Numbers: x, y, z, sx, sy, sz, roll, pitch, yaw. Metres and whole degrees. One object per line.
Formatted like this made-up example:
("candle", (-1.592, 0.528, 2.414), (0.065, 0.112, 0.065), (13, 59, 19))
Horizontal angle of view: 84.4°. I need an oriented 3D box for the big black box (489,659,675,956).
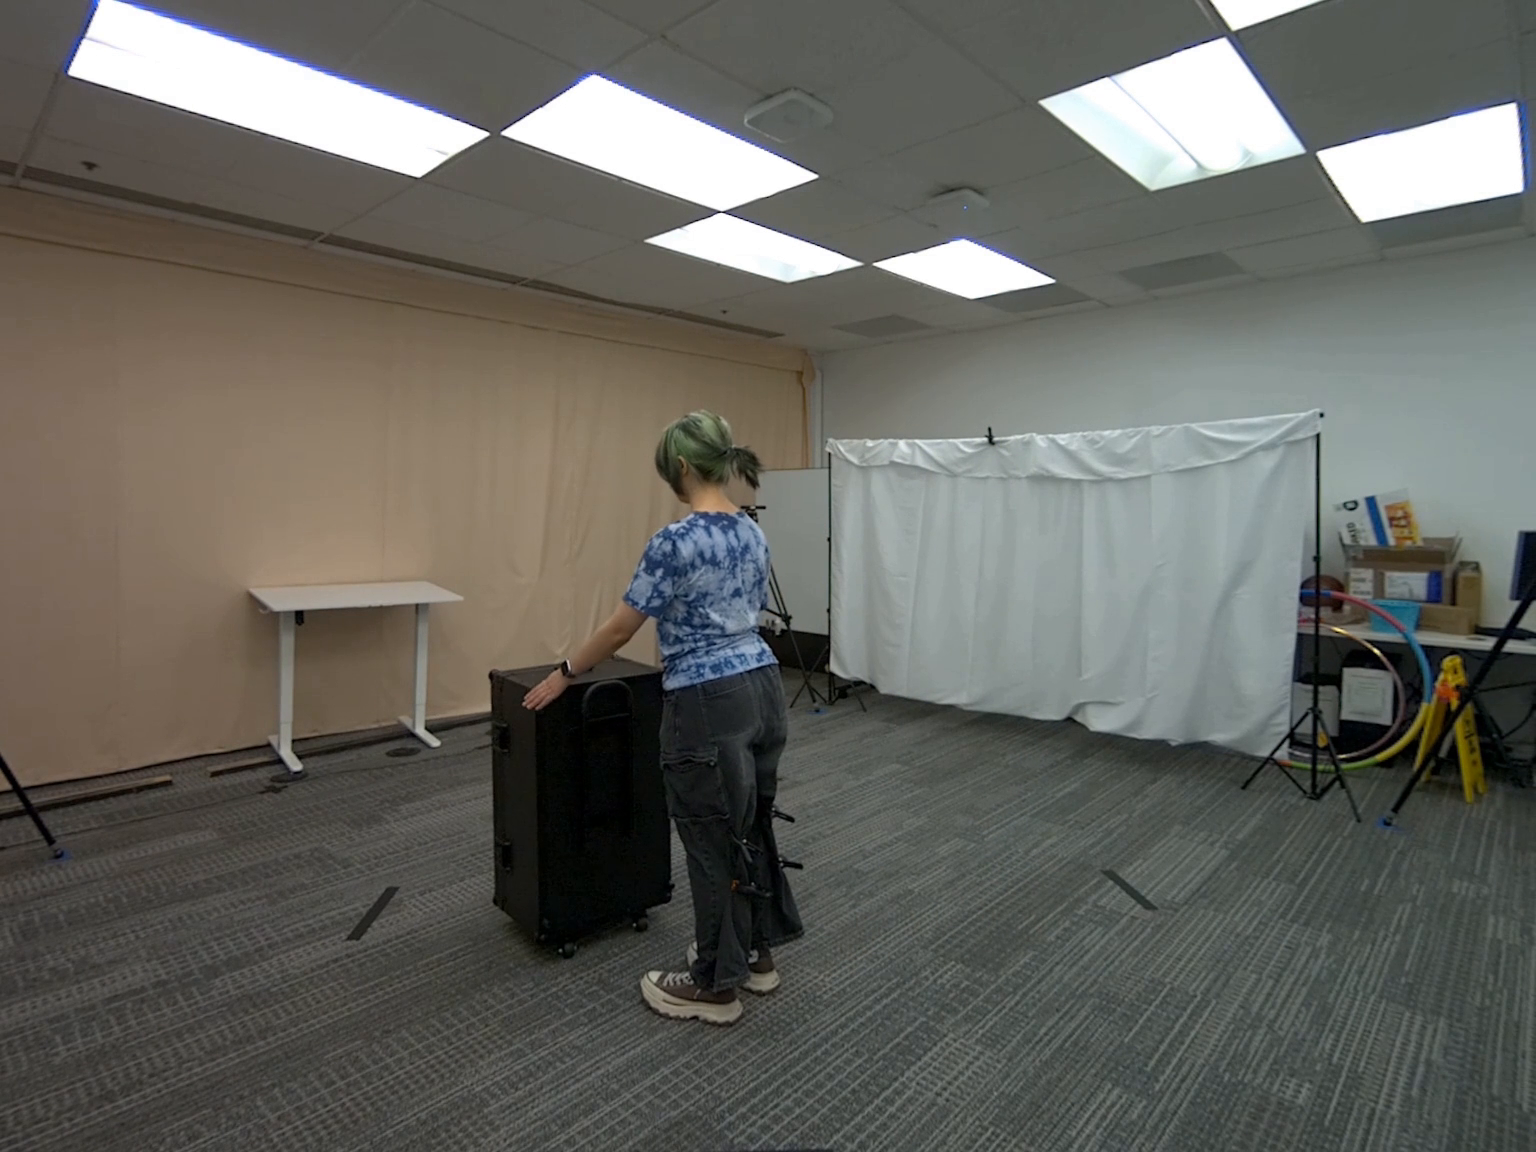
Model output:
("big black box", (-0.607, 0.739, 2.788), (0.506, 0.859, 0.409), (-3, 4, -38))
